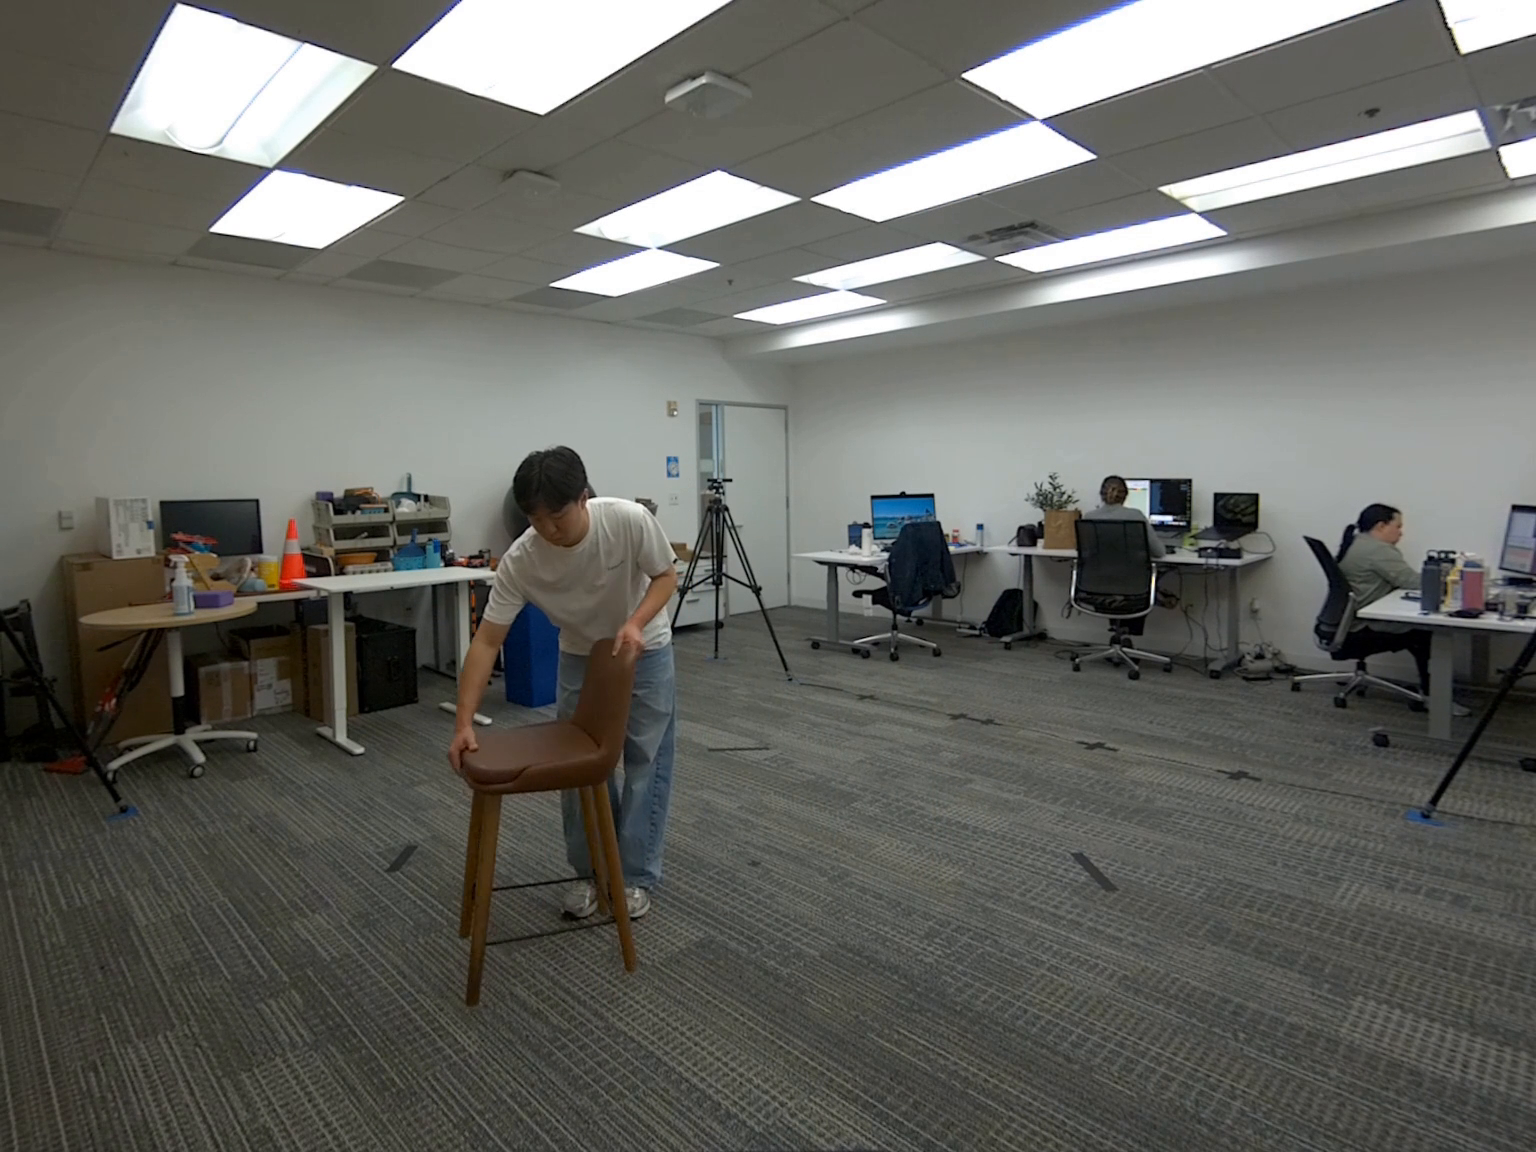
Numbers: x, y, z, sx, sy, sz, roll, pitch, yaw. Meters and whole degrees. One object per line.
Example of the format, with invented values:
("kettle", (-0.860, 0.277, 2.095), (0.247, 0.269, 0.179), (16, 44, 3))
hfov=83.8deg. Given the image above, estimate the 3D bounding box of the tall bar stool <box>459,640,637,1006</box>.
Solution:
("tall bar stool", (-0.637, 0.654, 2.427), (0.459, 0.889, 0.465), (1, 1, -21))
